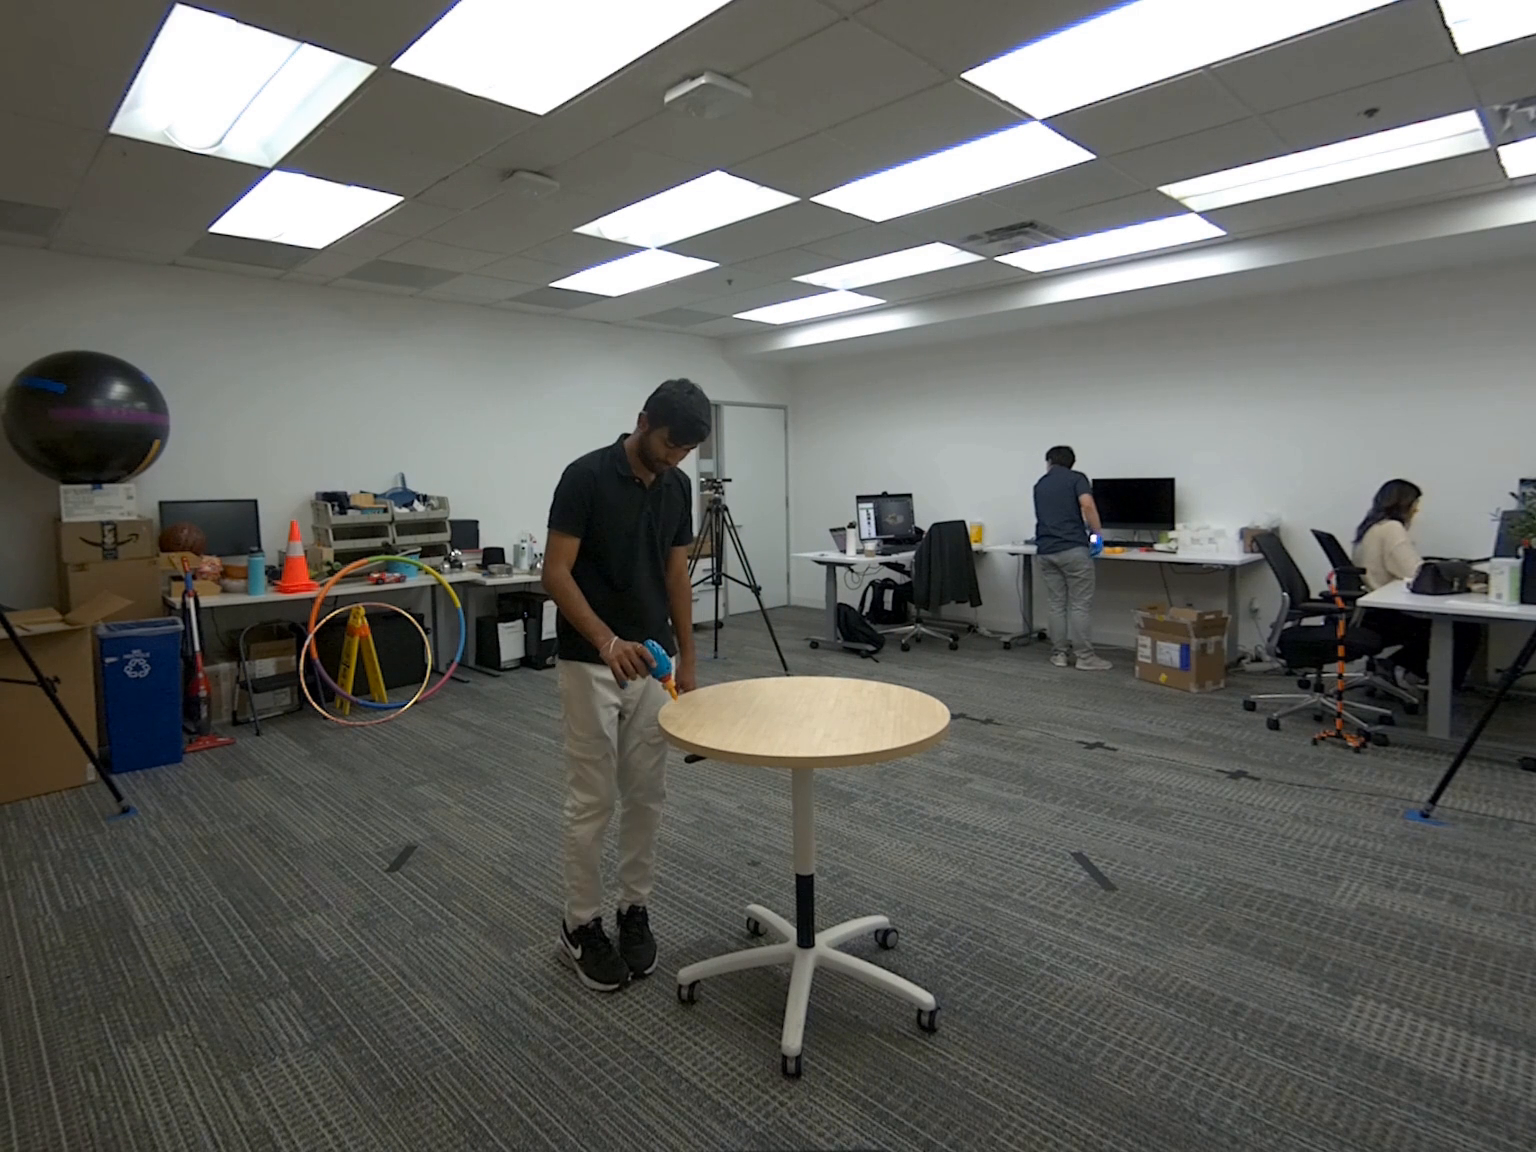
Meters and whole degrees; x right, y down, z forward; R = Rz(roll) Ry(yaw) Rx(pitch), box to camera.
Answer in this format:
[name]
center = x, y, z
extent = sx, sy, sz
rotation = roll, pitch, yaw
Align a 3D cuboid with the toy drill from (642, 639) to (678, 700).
[toy drill]
center = -0.324, 0.257, 2.195
extent = 0.146, 0.170, 0.061
rotation = -22, 1, 0
